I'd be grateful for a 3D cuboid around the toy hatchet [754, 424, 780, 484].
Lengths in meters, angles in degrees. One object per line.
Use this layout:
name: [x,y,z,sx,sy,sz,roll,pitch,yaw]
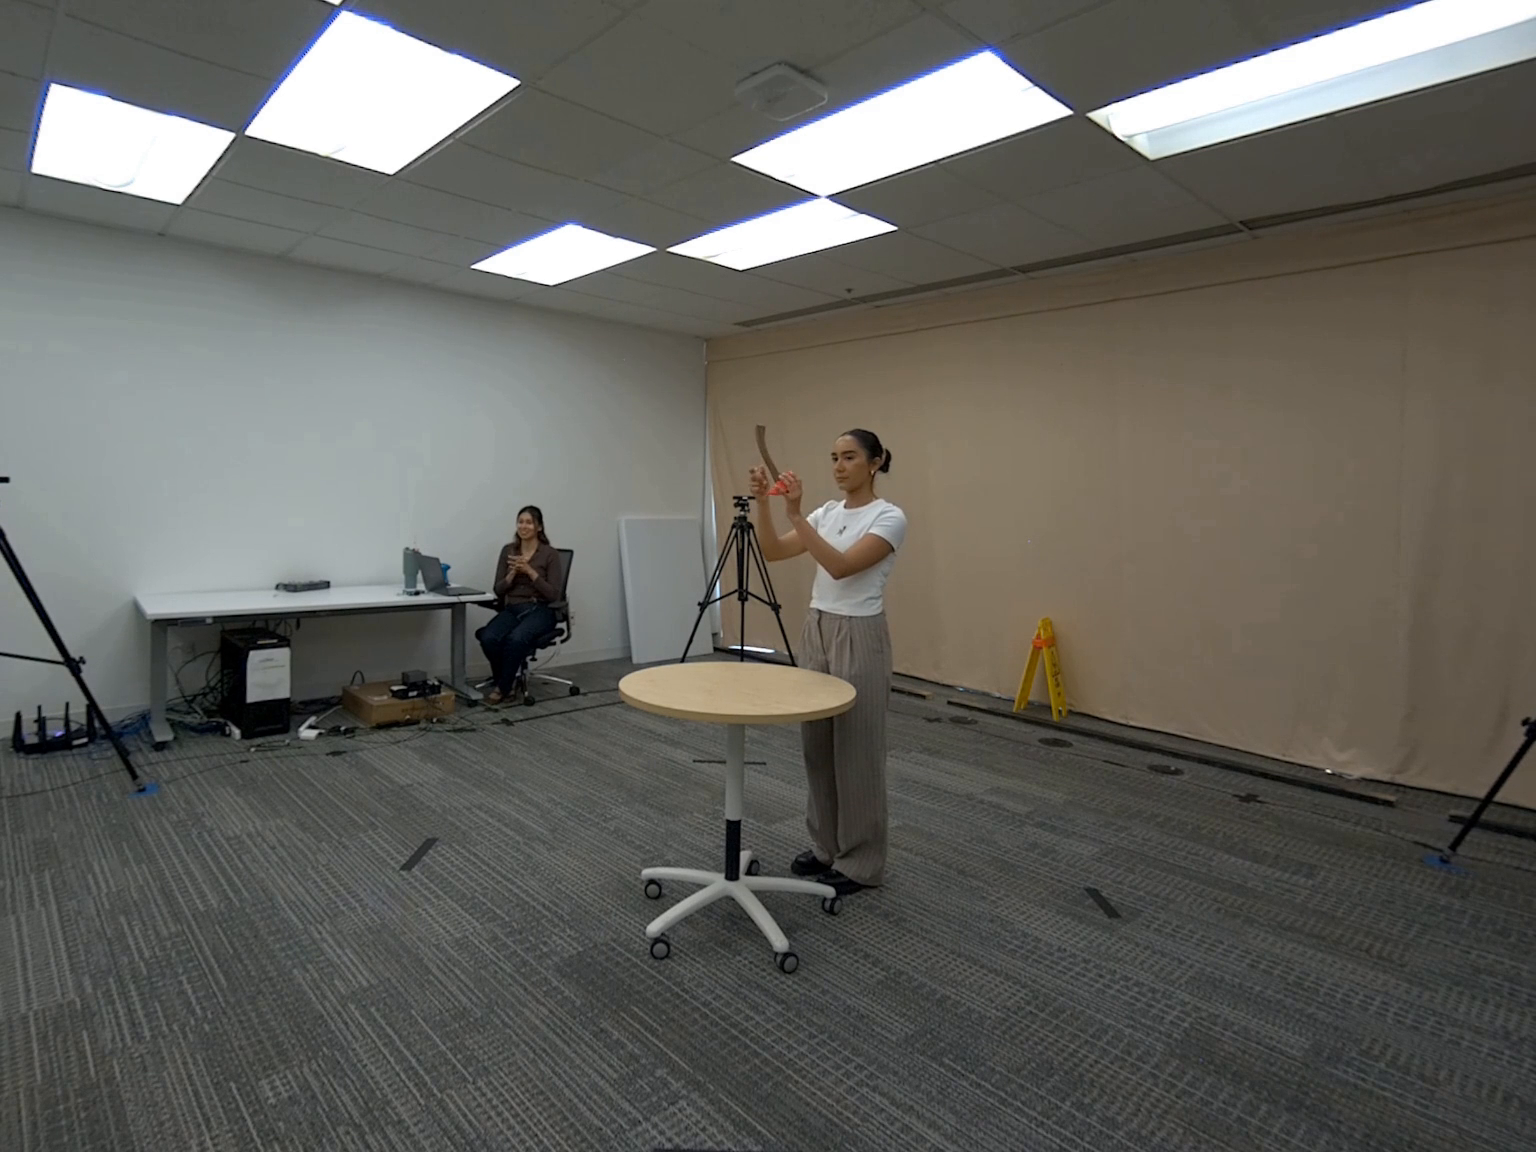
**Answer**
toy hatchet: [0.032,-0.390,2.841,0.129,0.273,0.029,-1,-16,-13]
